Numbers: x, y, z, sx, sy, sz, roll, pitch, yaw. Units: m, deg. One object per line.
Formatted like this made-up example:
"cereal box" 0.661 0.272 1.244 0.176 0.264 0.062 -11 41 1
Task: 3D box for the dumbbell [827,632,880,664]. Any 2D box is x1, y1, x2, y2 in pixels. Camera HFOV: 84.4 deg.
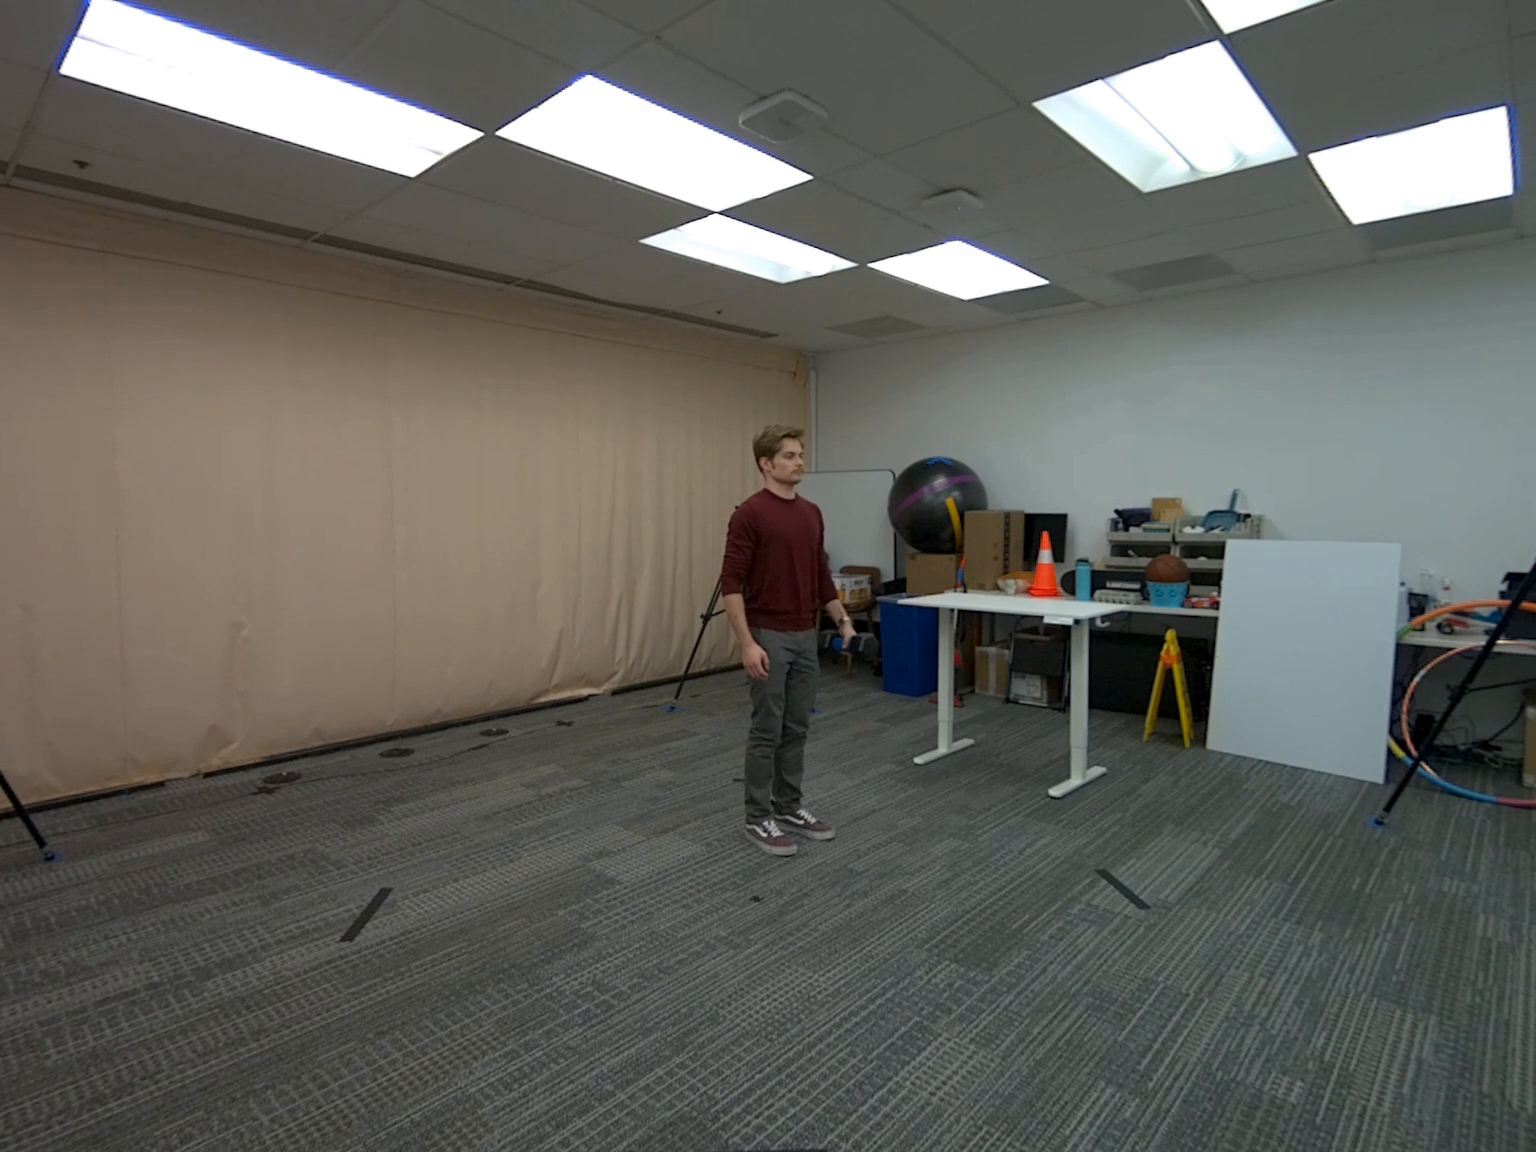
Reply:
"dumbbell" 0.337 0.280 3.564 0.108 0.120 0.302 -44 23 -26
